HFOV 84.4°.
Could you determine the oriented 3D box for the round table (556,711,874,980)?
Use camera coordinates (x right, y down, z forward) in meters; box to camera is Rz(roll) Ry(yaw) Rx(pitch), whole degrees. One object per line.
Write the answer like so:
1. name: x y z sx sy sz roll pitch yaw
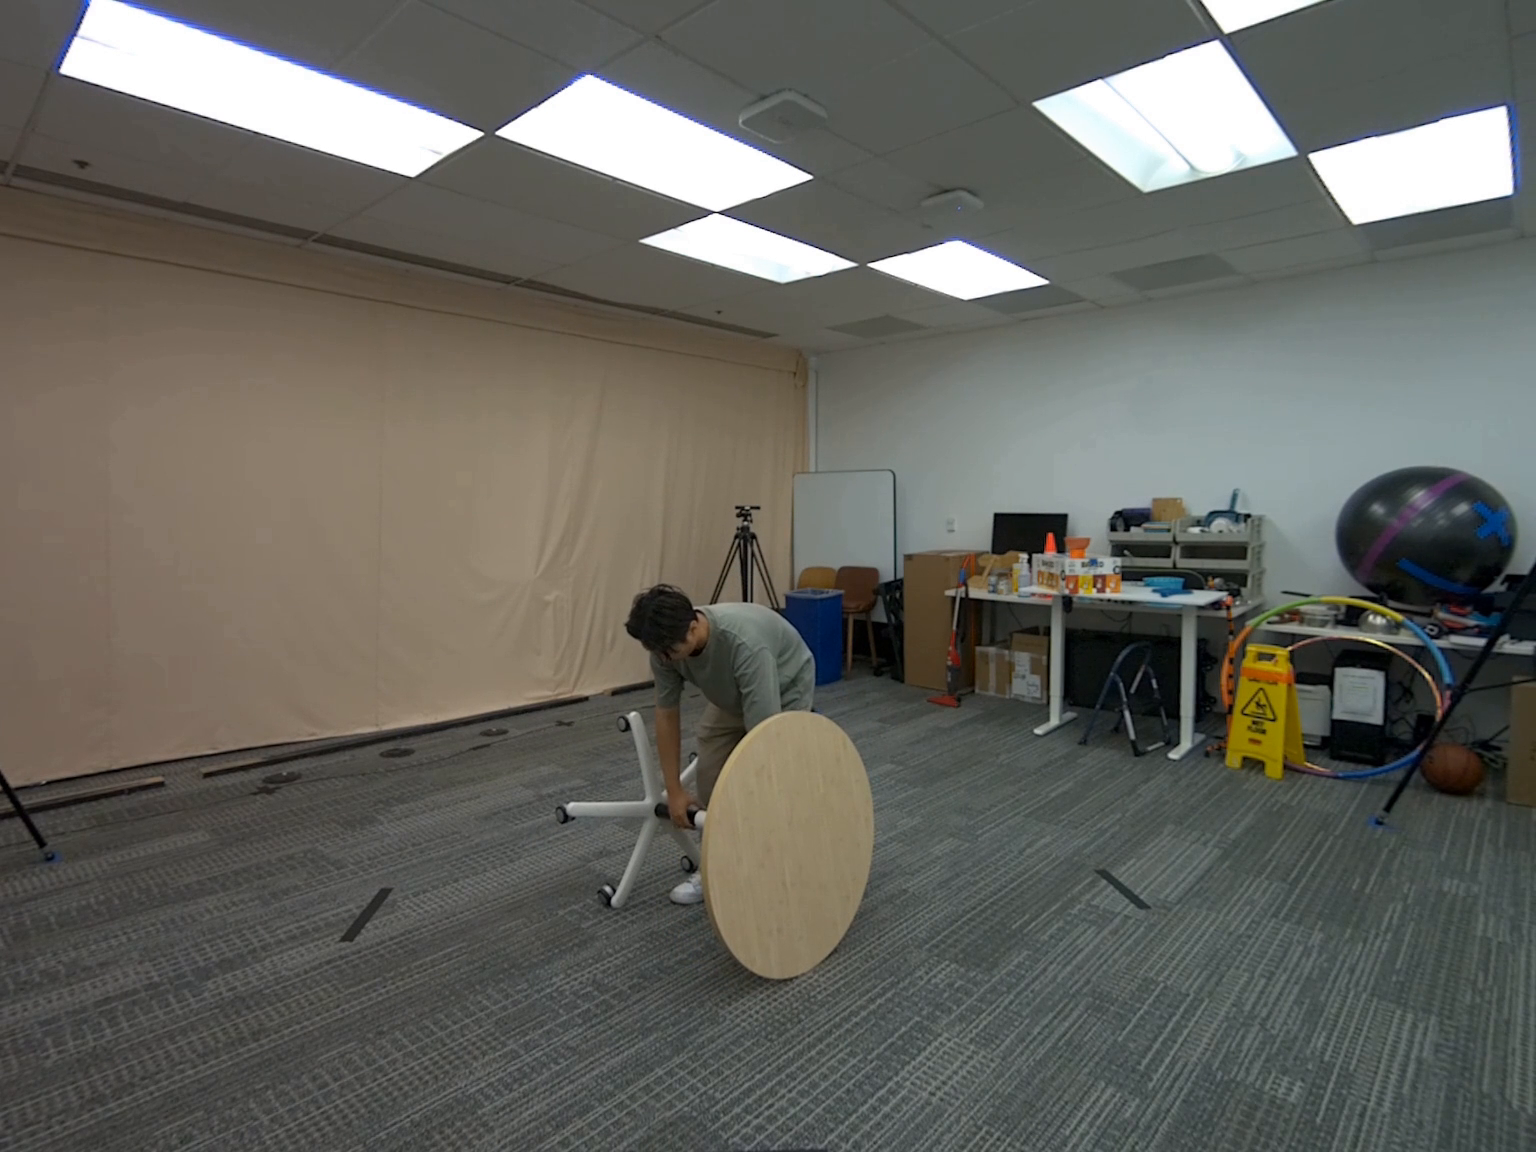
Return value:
1. round table: -0.202 0.826 2.815 0.810 0.786 0.761 -6 -2 43
